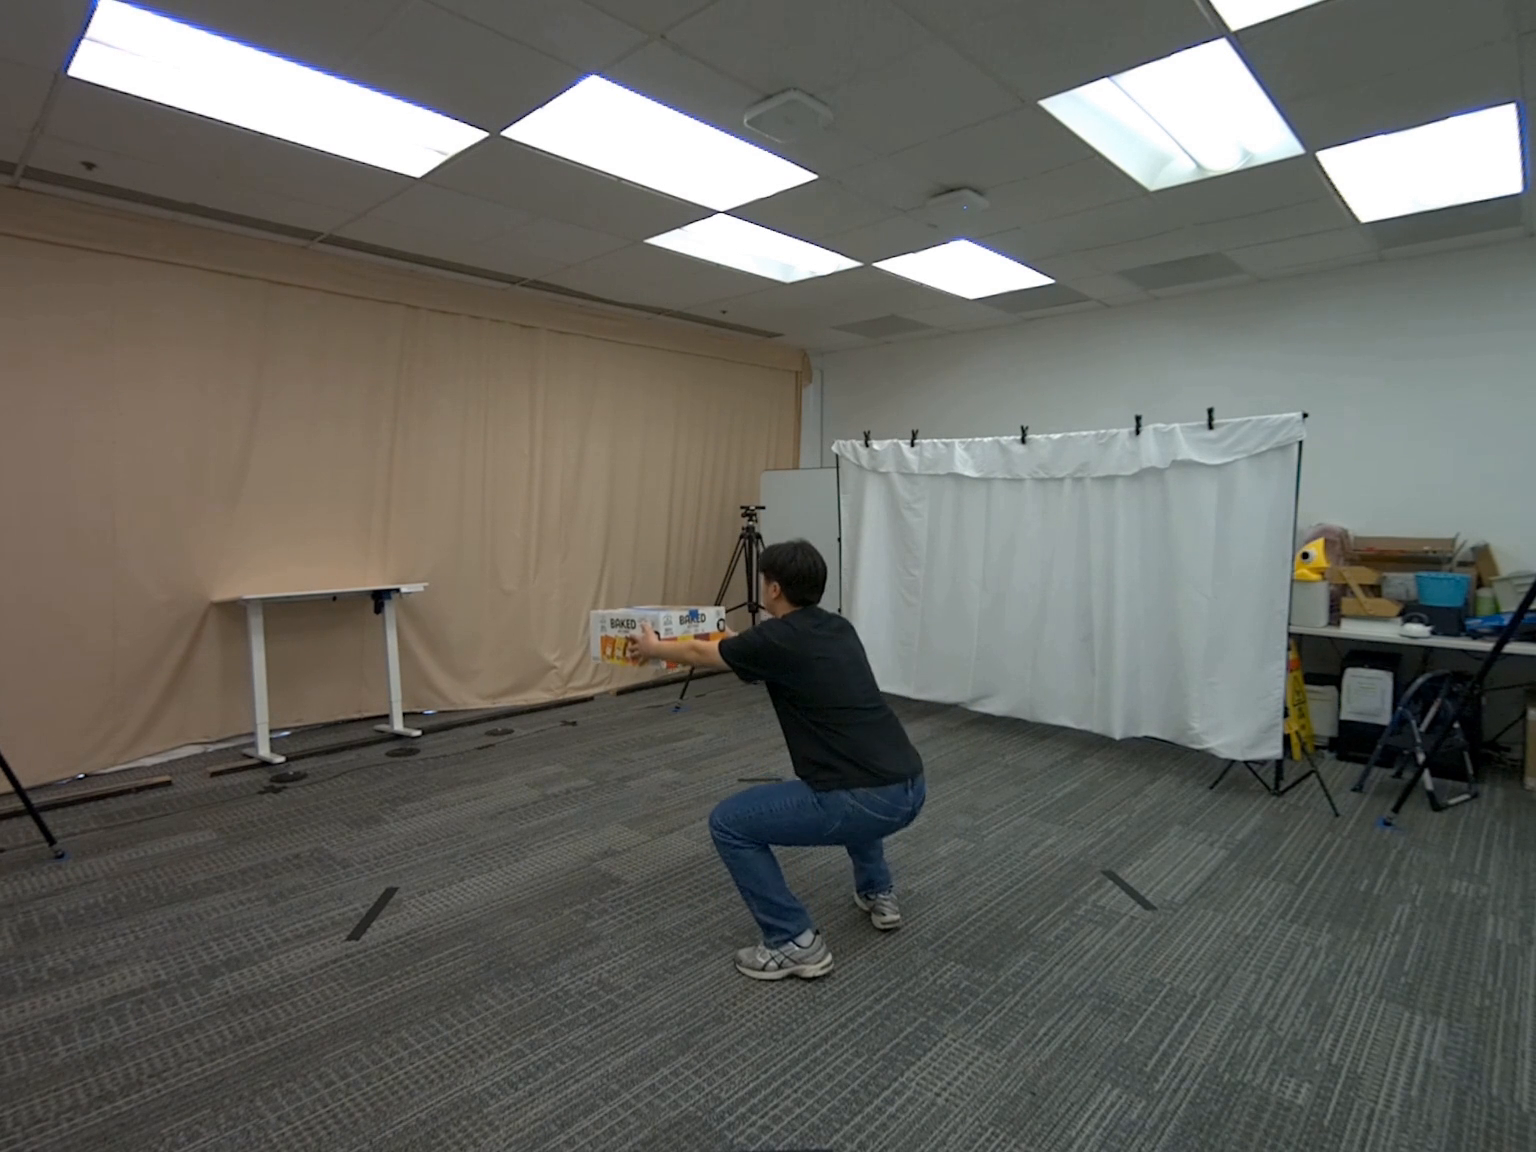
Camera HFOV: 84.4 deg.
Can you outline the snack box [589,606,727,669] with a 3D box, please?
[{"bbox_3d":[-0.419,0.216,3.241,0.418,0.206,0.329,-1,1,43],"label":"snack box"}]
